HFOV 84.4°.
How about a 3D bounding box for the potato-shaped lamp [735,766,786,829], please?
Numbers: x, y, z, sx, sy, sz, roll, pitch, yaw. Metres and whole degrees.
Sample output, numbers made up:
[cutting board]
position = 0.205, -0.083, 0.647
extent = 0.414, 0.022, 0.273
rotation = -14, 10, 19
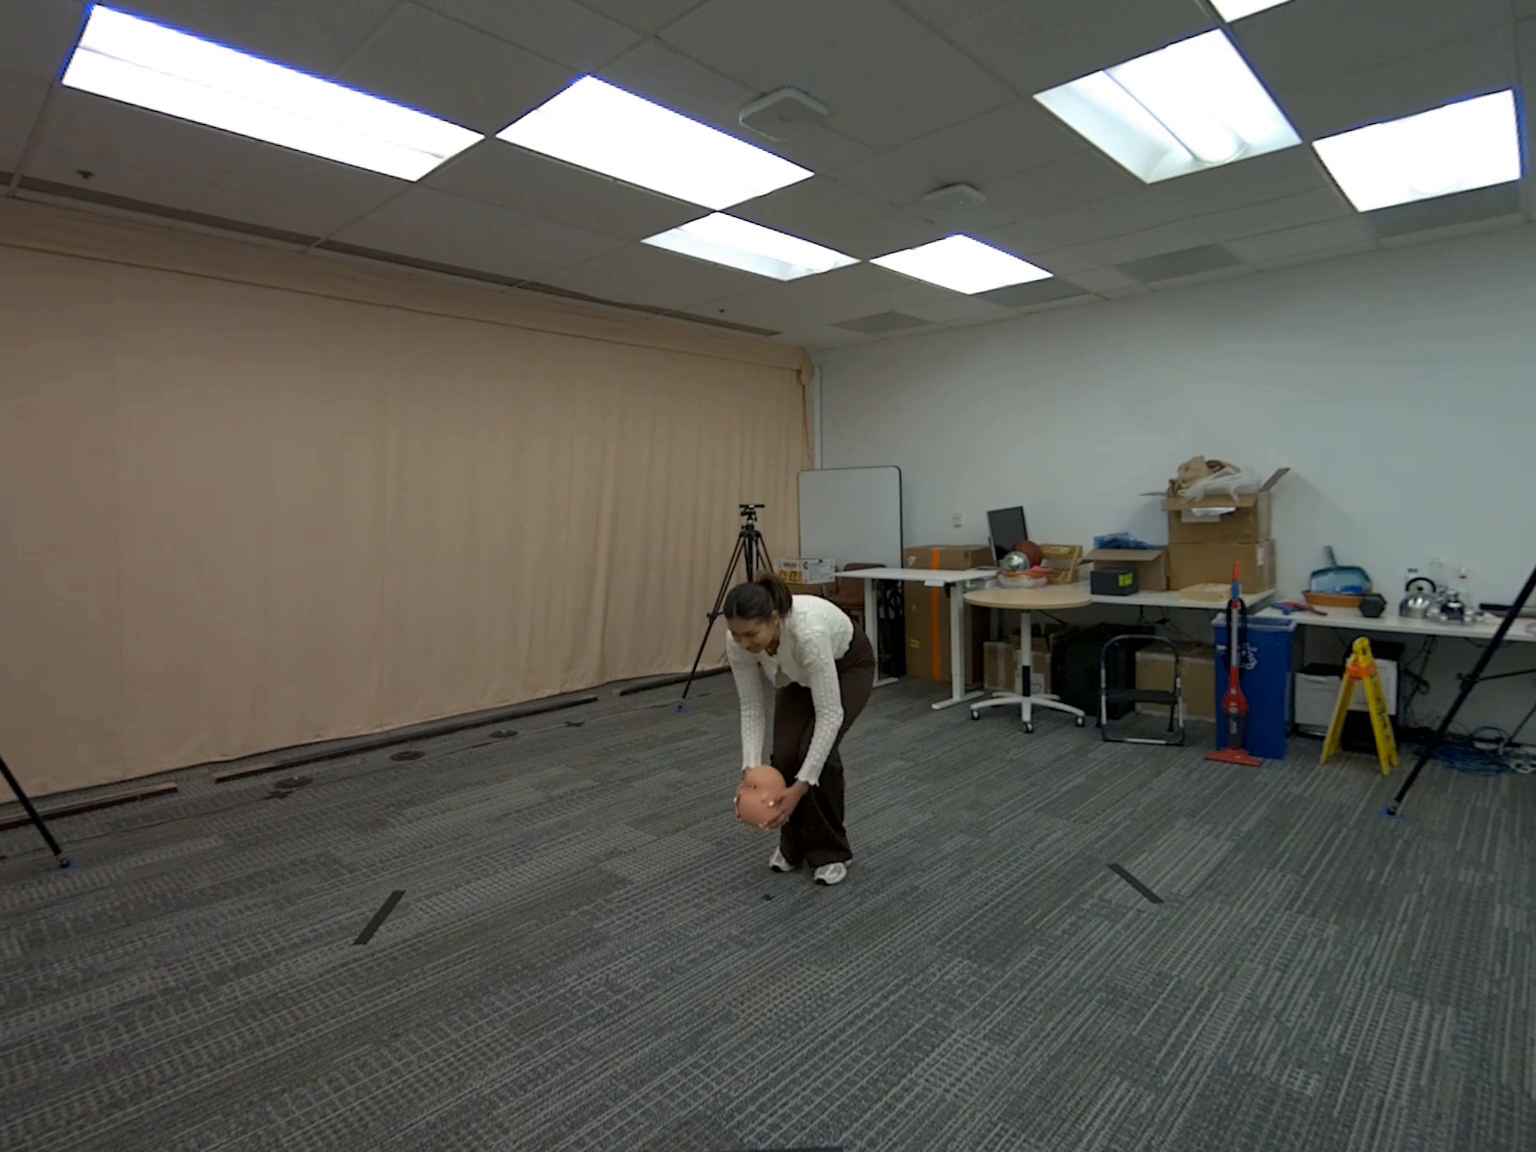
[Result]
[potato-shaped lamp]
position = -0.007, 0.754, 2.924
extent = 0.166, 0.198, 0.169
rotation = 1, -3, -36
